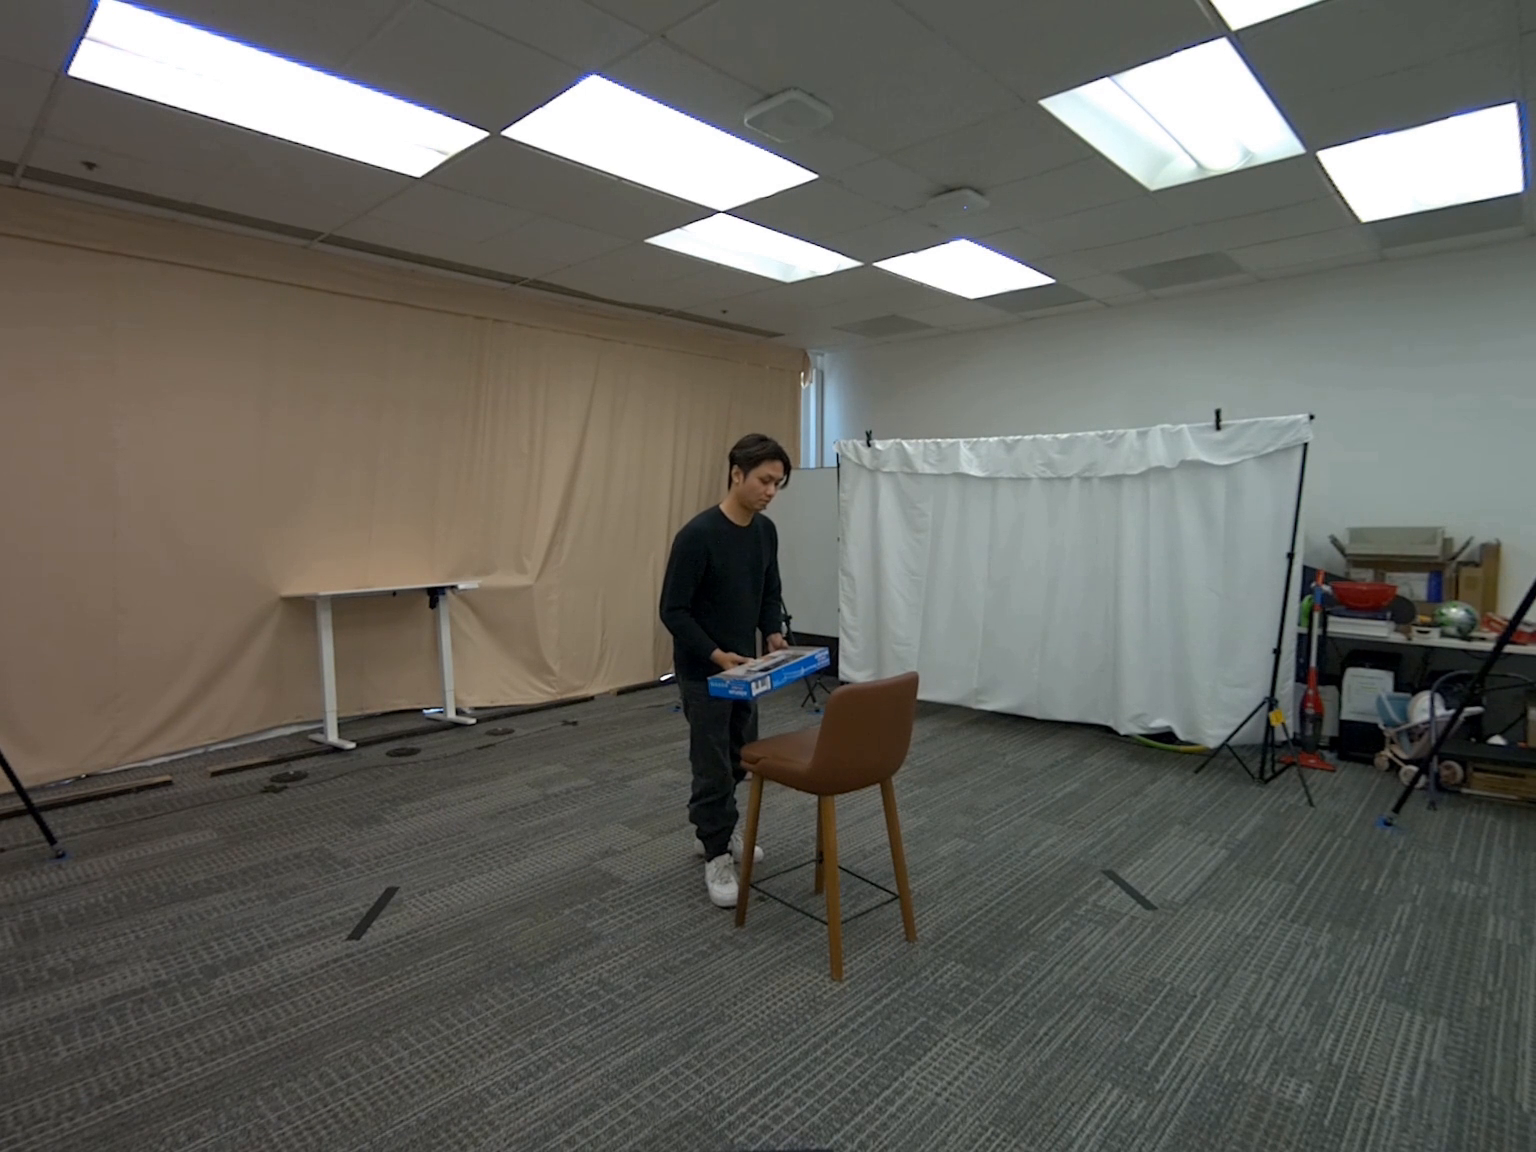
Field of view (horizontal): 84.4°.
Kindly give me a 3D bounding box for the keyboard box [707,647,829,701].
[{"bbox_3d":[0.005,0.310,2.767,0.181,0.059,0.425,-2,8,39],"label":"keyboard box"}]
